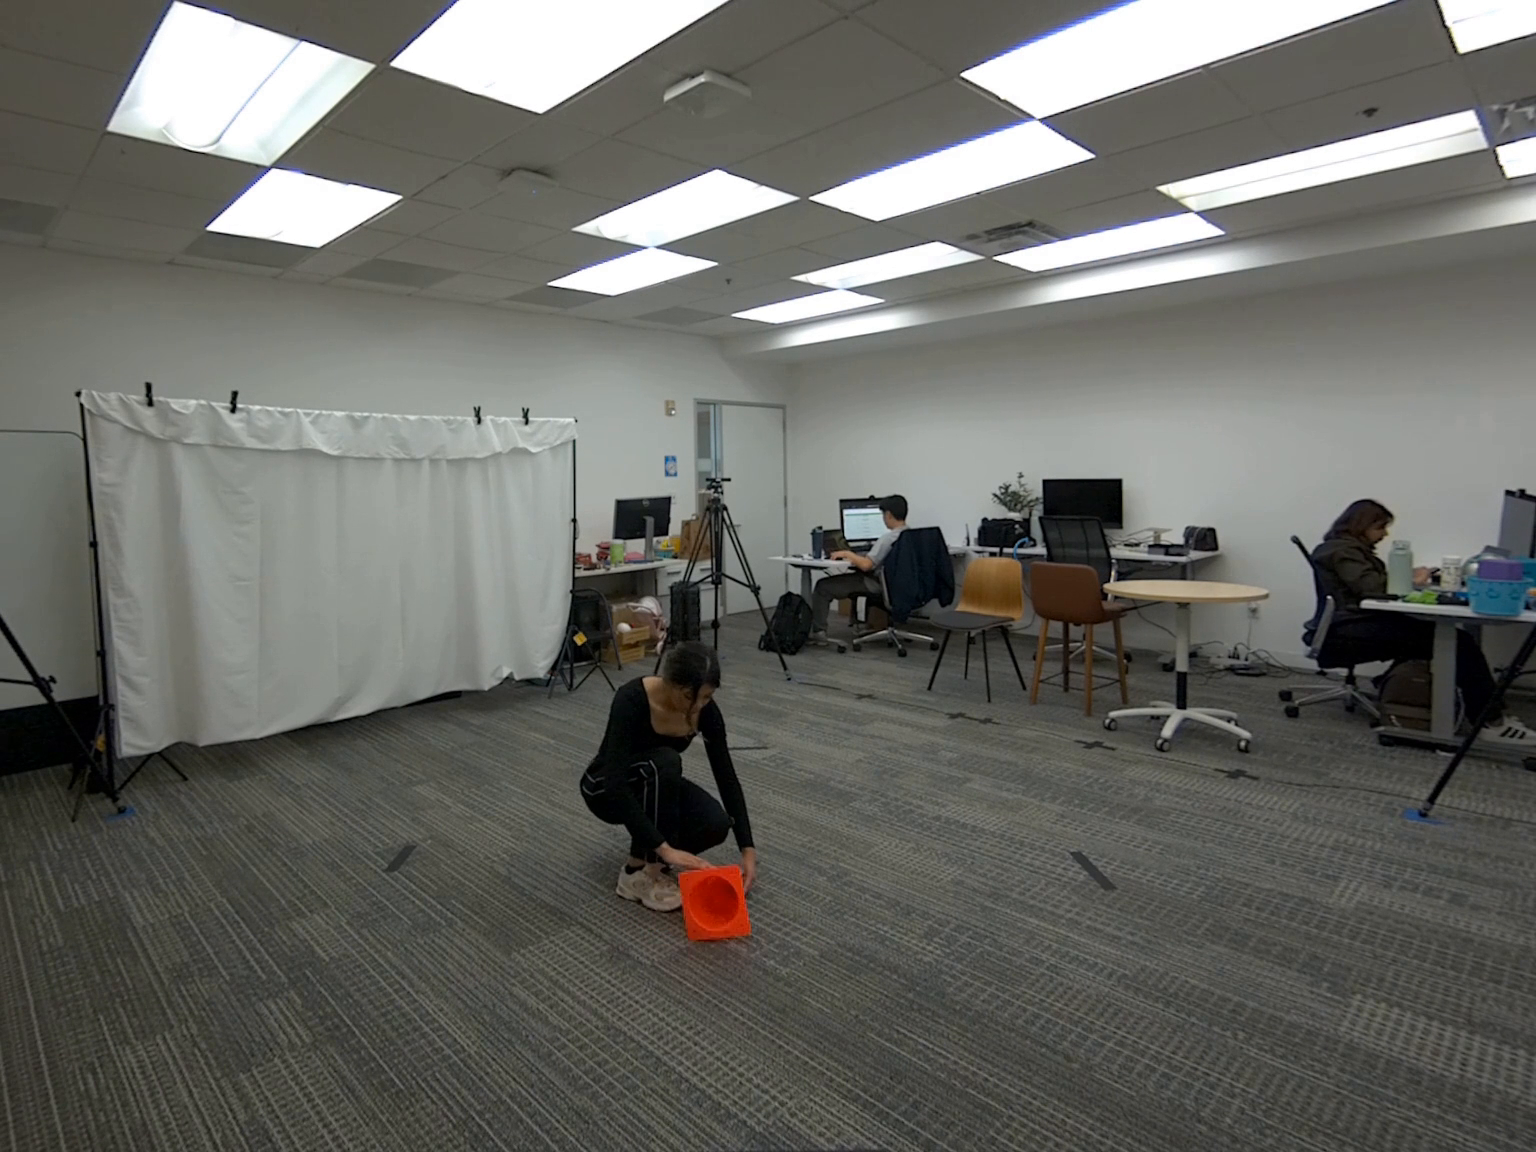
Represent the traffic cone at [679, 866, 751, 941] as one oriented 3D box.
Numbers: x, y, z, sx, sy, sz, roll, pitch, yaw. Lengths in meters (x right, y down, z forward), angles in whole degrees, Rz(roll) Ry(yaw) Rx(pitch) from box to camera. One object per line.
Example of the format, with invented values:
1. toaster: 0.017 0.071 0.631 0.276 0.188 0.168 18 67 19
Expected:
1. traffic cone: -0.136 1.012 2.780 0.206 0.205 0.378 -11 -5 8
